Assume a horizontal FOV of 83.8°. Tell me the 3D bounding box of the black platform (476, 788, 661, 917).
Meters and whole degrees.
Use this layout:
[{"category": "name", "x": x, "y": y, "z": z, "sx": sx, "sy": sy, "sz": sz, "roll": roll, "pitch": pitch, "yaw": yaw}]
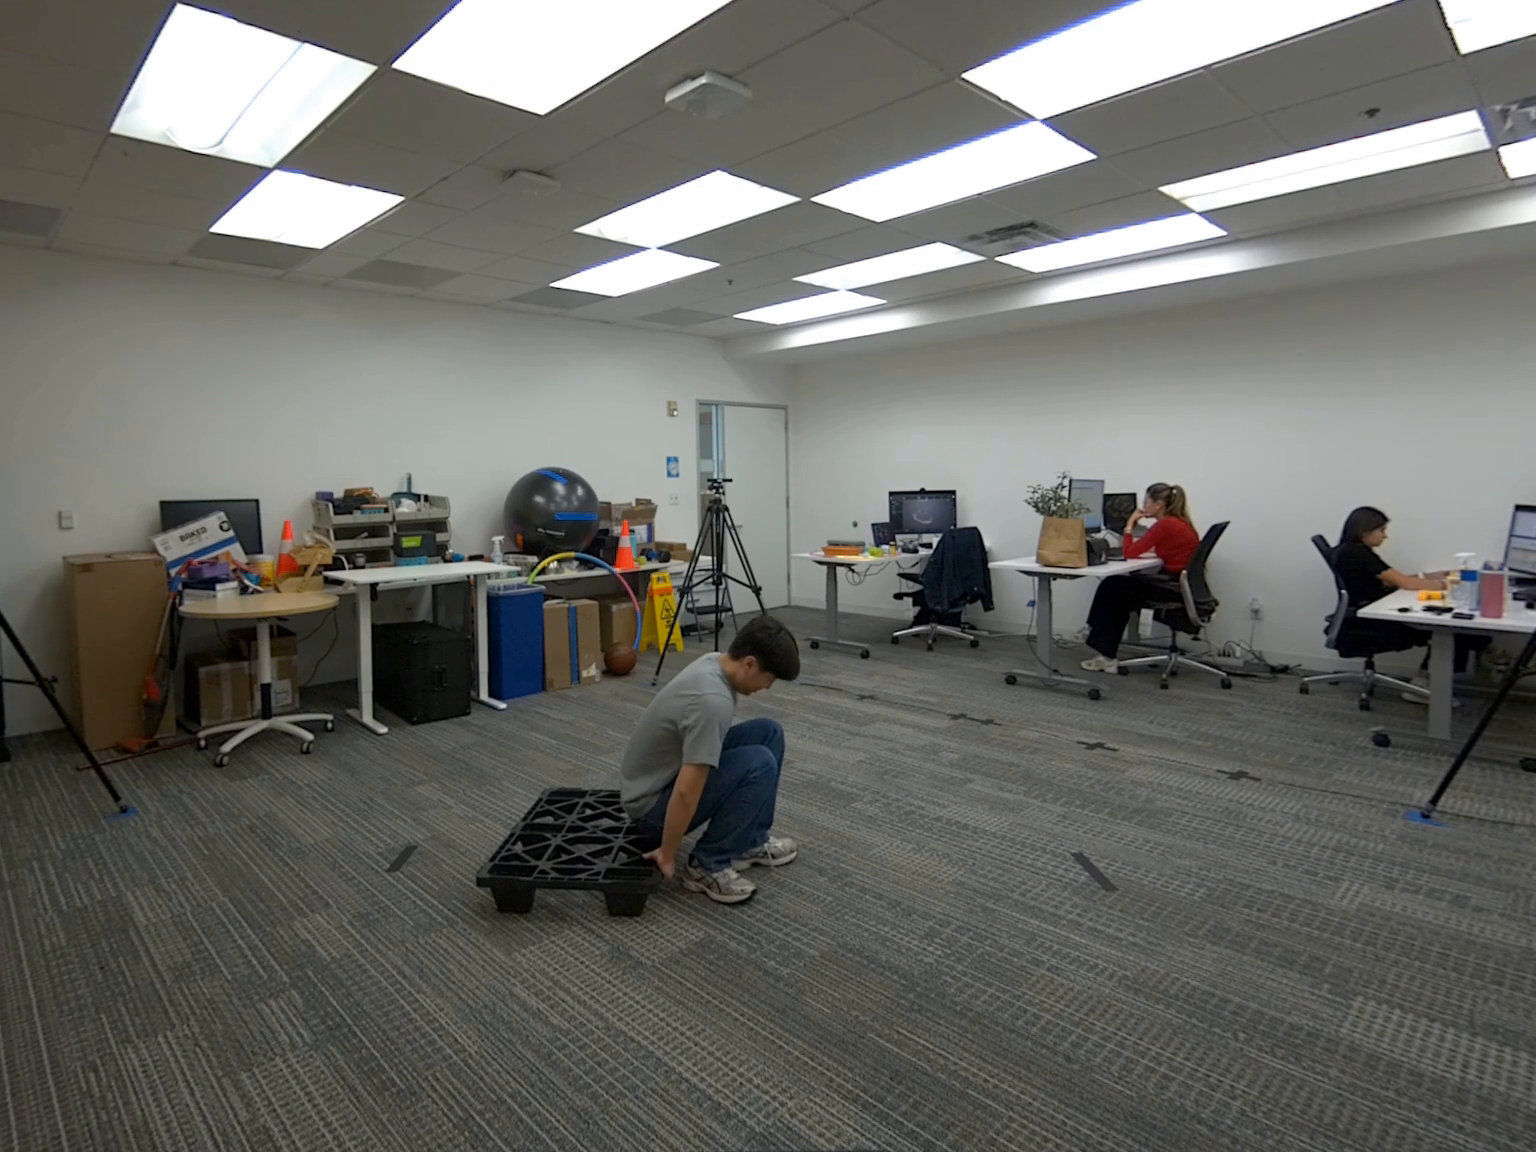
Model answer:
[{"category": "black platform", "x": -0.625, "y": 0.982, "z": 3.121, "sx": 0.608, "sy": 0.142, "sz": 0.806, "roll": 0, "pitch": 7, "yaw": 3}]
